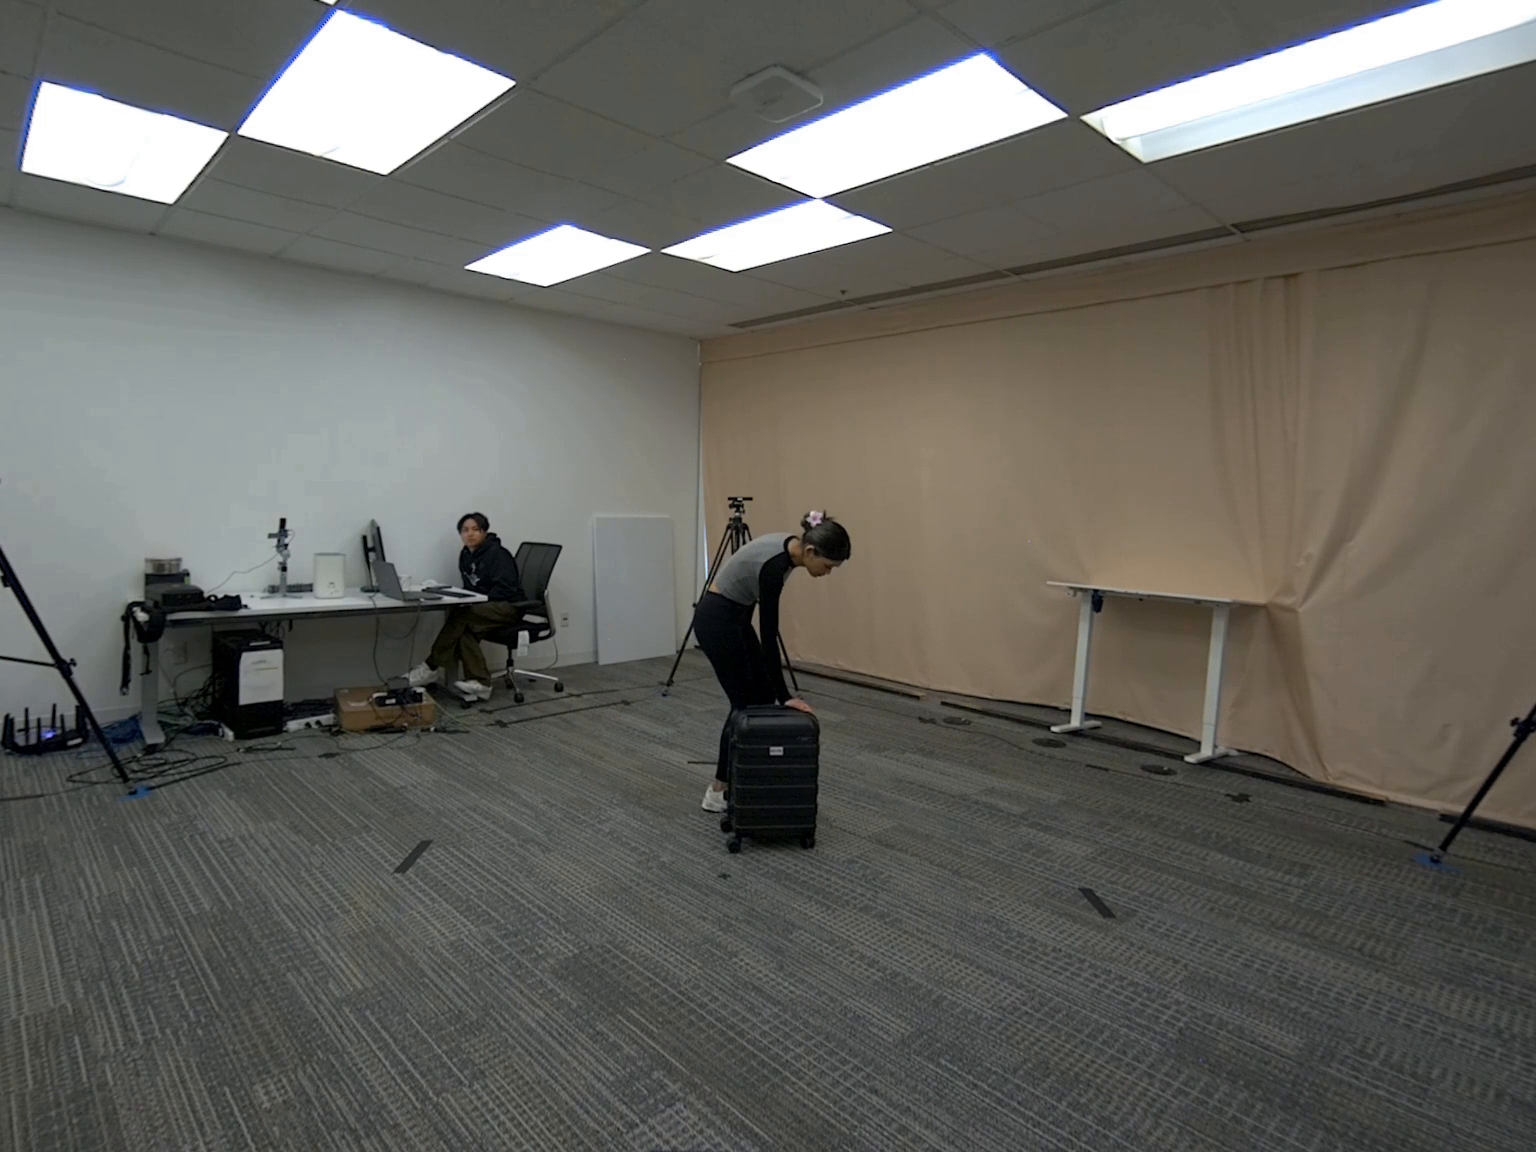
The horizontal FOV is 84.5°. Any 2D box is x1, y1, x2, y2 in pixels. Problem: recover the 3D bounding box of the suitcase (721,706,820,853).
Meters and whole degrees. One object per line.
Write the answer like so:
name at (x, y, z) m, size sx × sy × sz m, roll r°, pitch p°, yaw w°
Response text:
suitcase at (0.013, 0.802, 3.432) m, size 0.373 × 0.547 × 0.250 m, roll 3°, pitch 5°, yaw -7°
